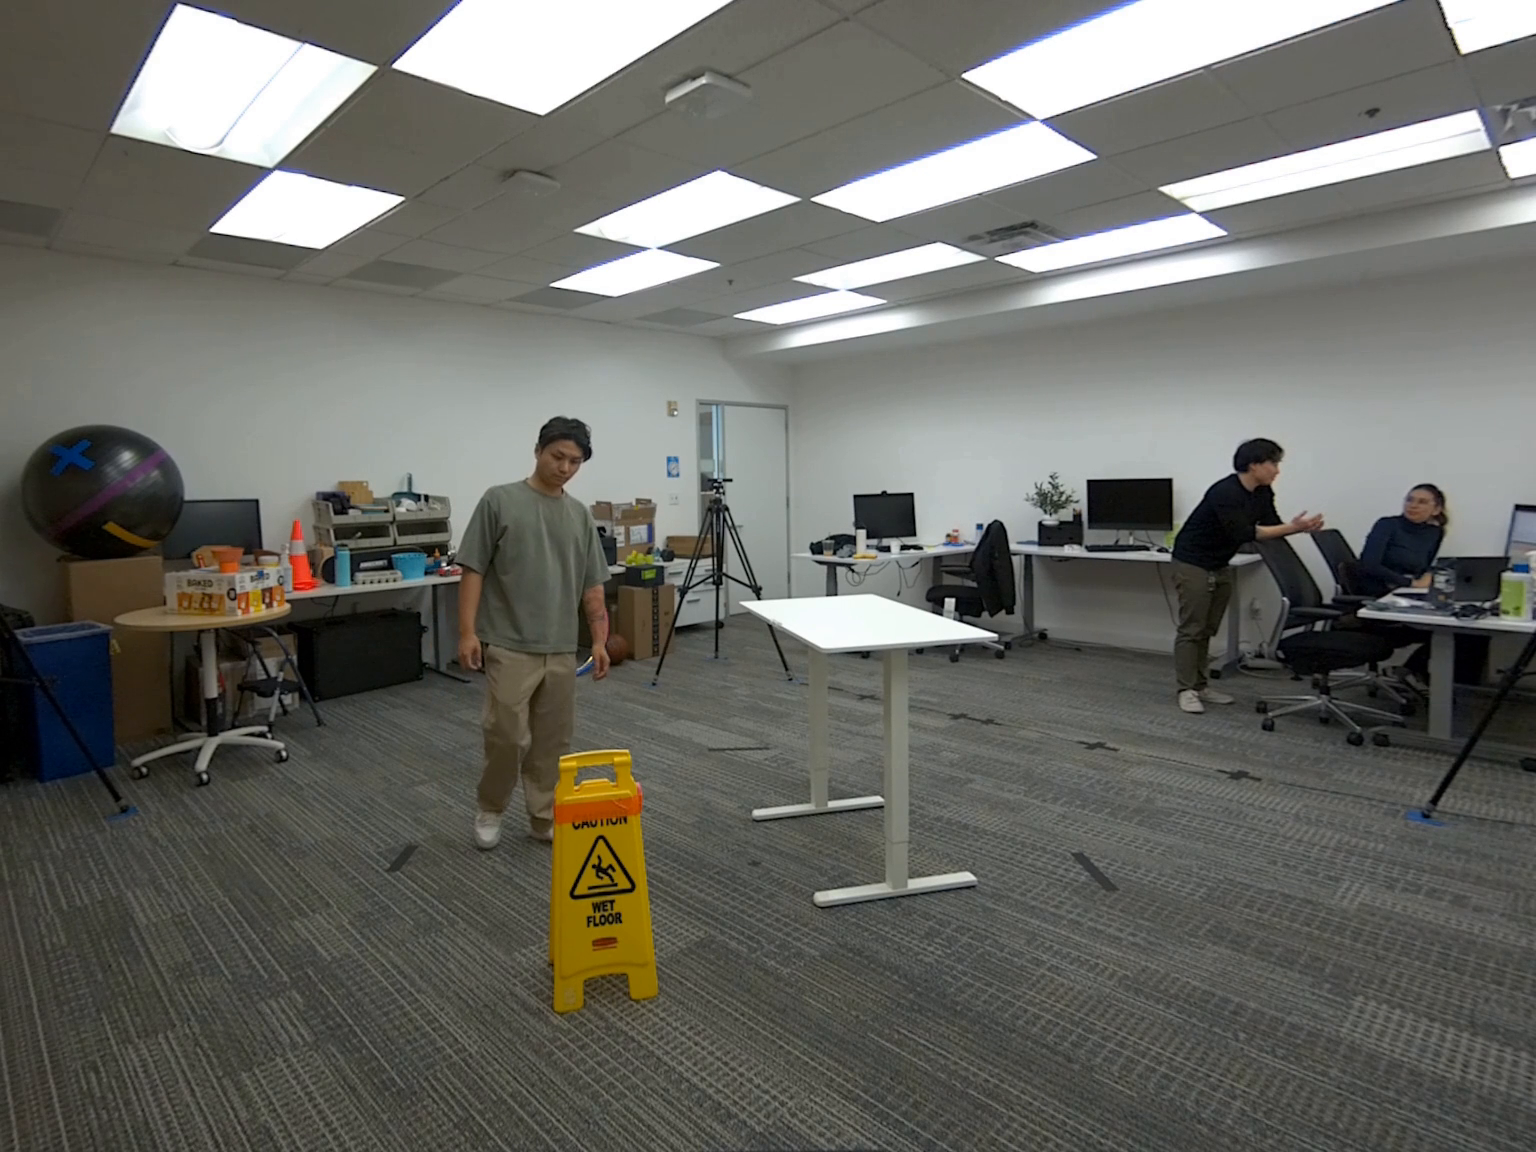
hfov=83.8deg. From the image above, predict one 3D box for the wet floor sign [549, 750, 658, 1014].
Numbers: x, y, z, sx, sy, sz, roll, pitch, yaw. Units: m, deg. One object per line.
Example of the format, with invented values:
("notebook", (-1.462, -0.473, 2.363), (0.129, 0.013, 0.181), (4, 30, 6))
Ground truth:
("wet floor sign", (-0.470, 0.811, 2.383), (0.278, 0.643, 0.295), (-3, 5, -15))
